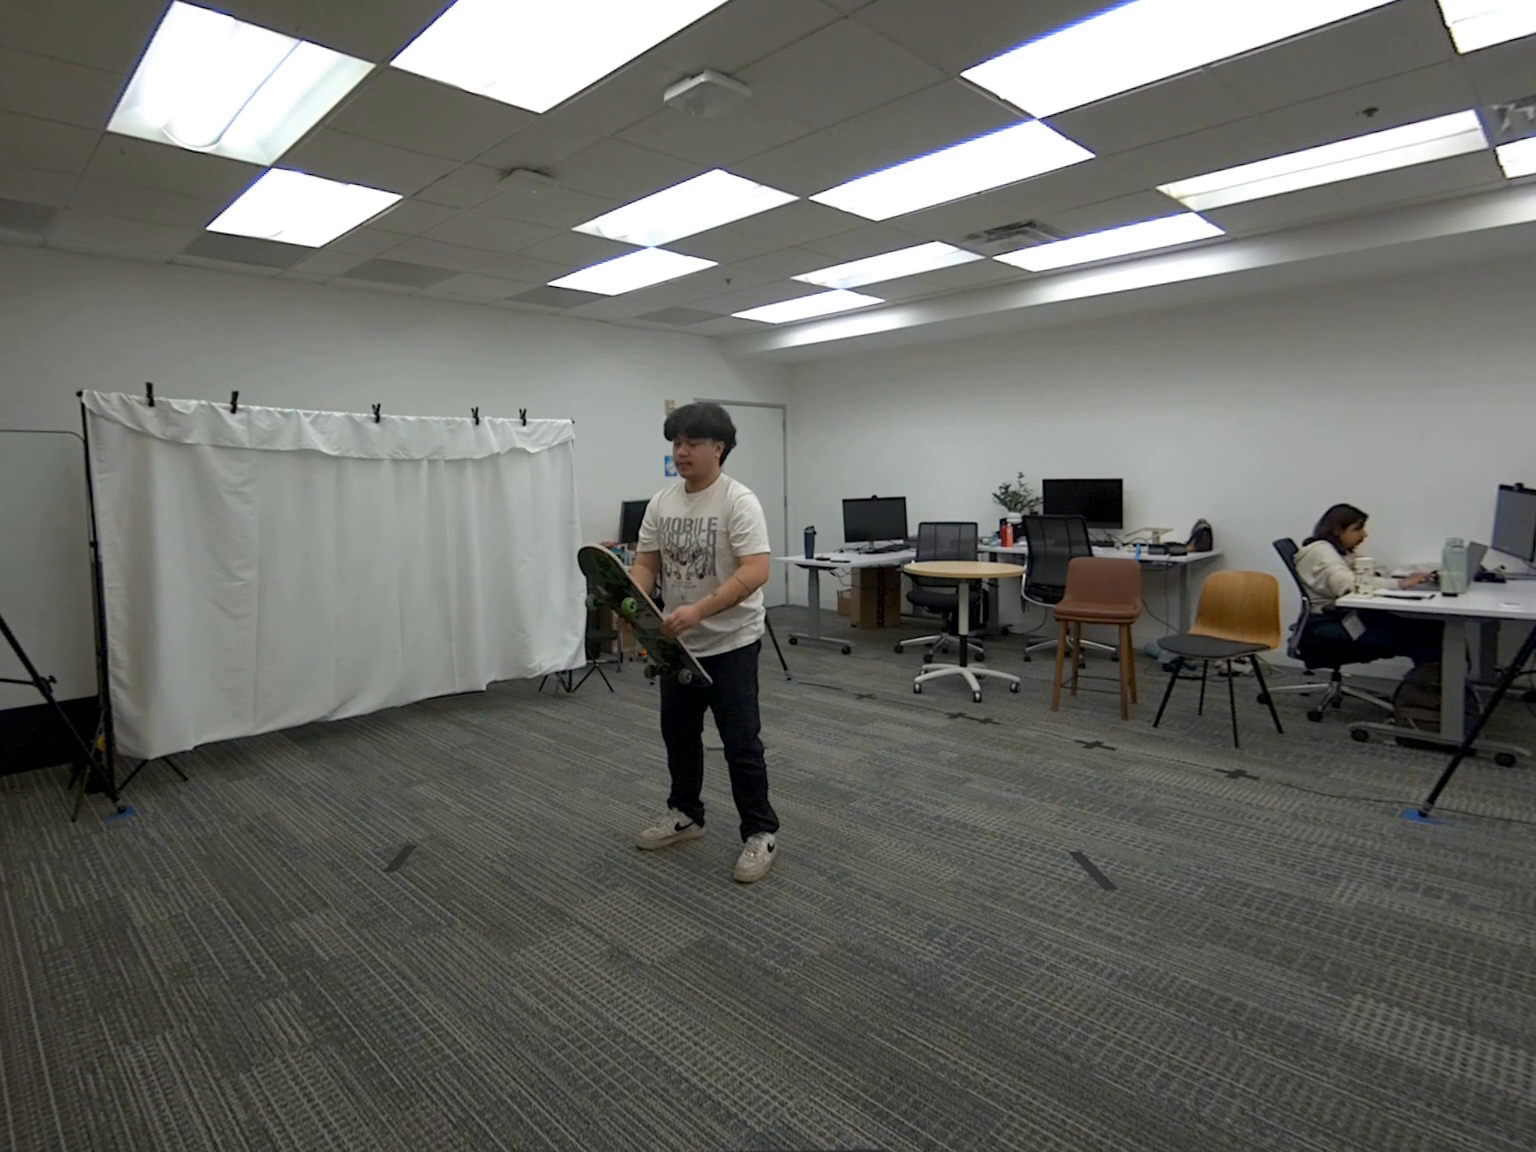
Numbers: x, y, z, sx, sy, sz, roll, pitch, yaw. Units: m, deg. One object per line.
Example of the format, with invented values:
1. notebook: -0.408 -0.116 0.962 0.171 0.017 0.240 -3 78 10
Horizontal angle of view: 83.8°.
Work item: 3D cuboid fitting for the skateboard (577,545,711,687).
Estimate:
1. skateboard: -0.414 0.196 2.827 0.199 0.111 0.756 4 -39 32
